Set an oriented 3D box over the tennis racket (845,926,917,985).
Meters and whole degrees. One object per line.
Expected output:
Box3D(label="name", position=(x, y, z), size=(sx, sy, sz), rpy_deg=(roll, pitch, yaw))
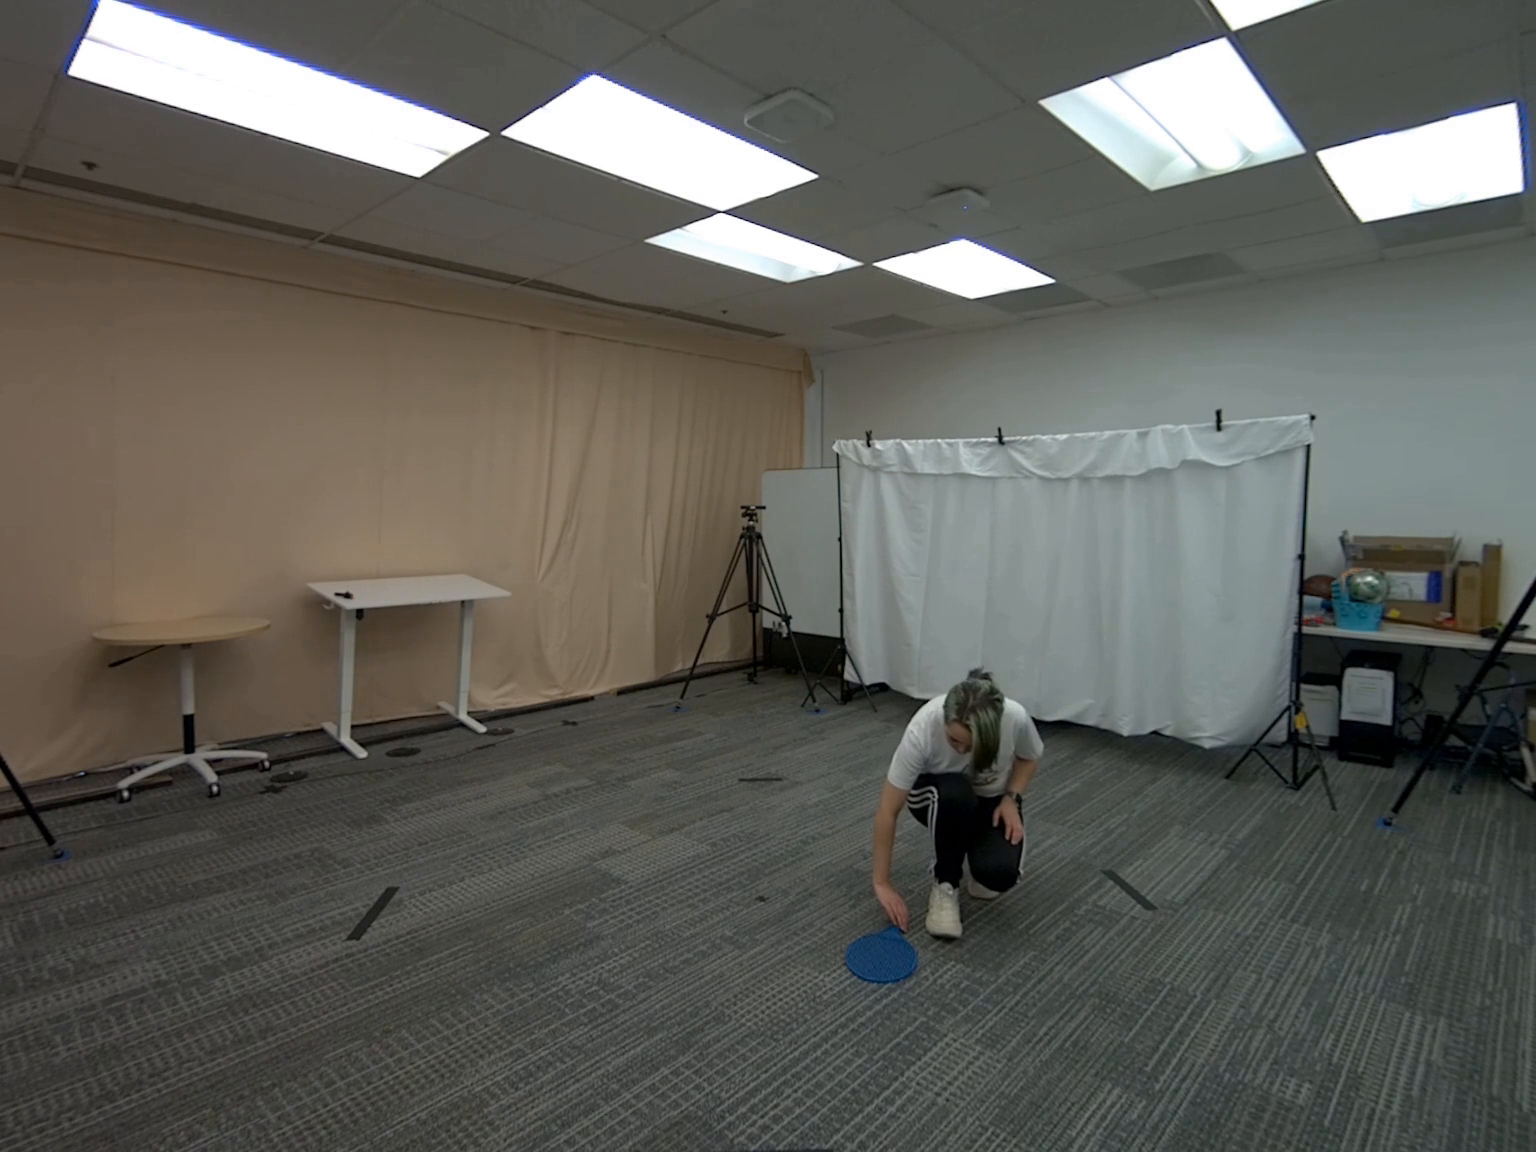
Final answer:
Box3D(label="tennis racket", position=(0.384, 1.158, 2.653), size=(0.219, 0.031, 0.423), rpy_deg=(2, 7, 25))
